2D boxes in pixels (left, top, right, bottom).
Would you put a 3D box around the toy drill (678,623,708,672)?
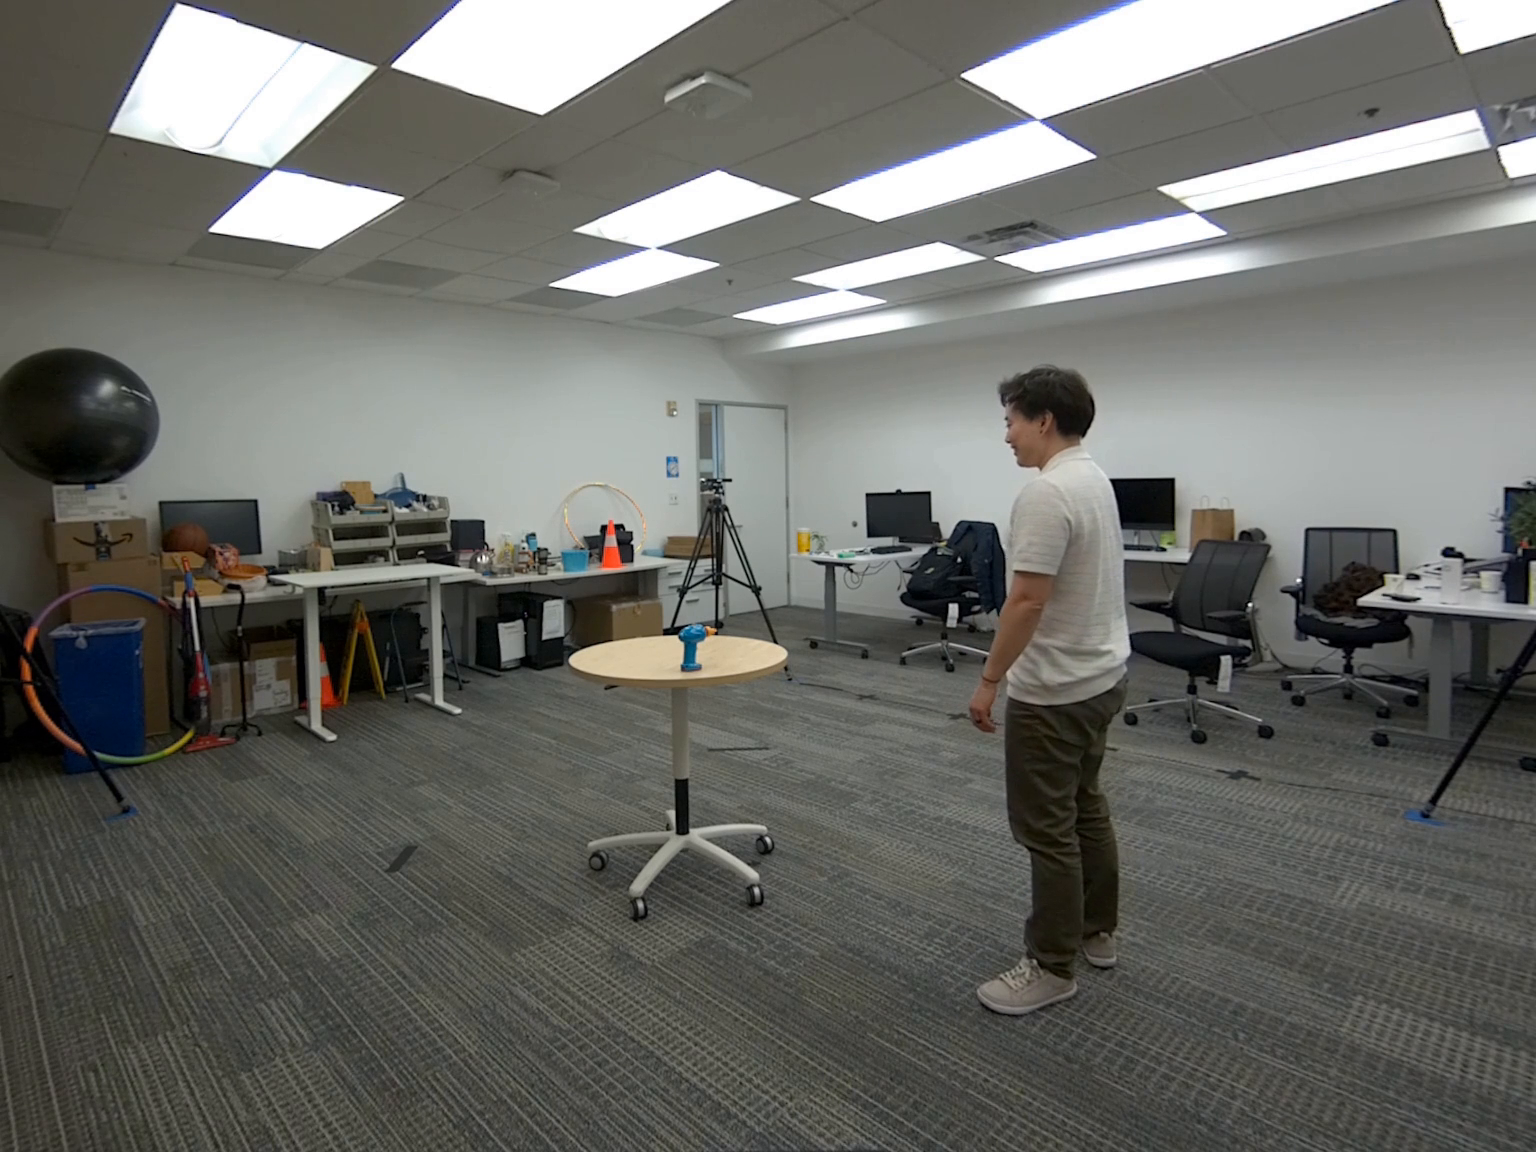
[{"bbox_3d":[-0.226,0.226,2.785,0.063,0.145,0.166,0,5,36],"label":"toy drill"}]
